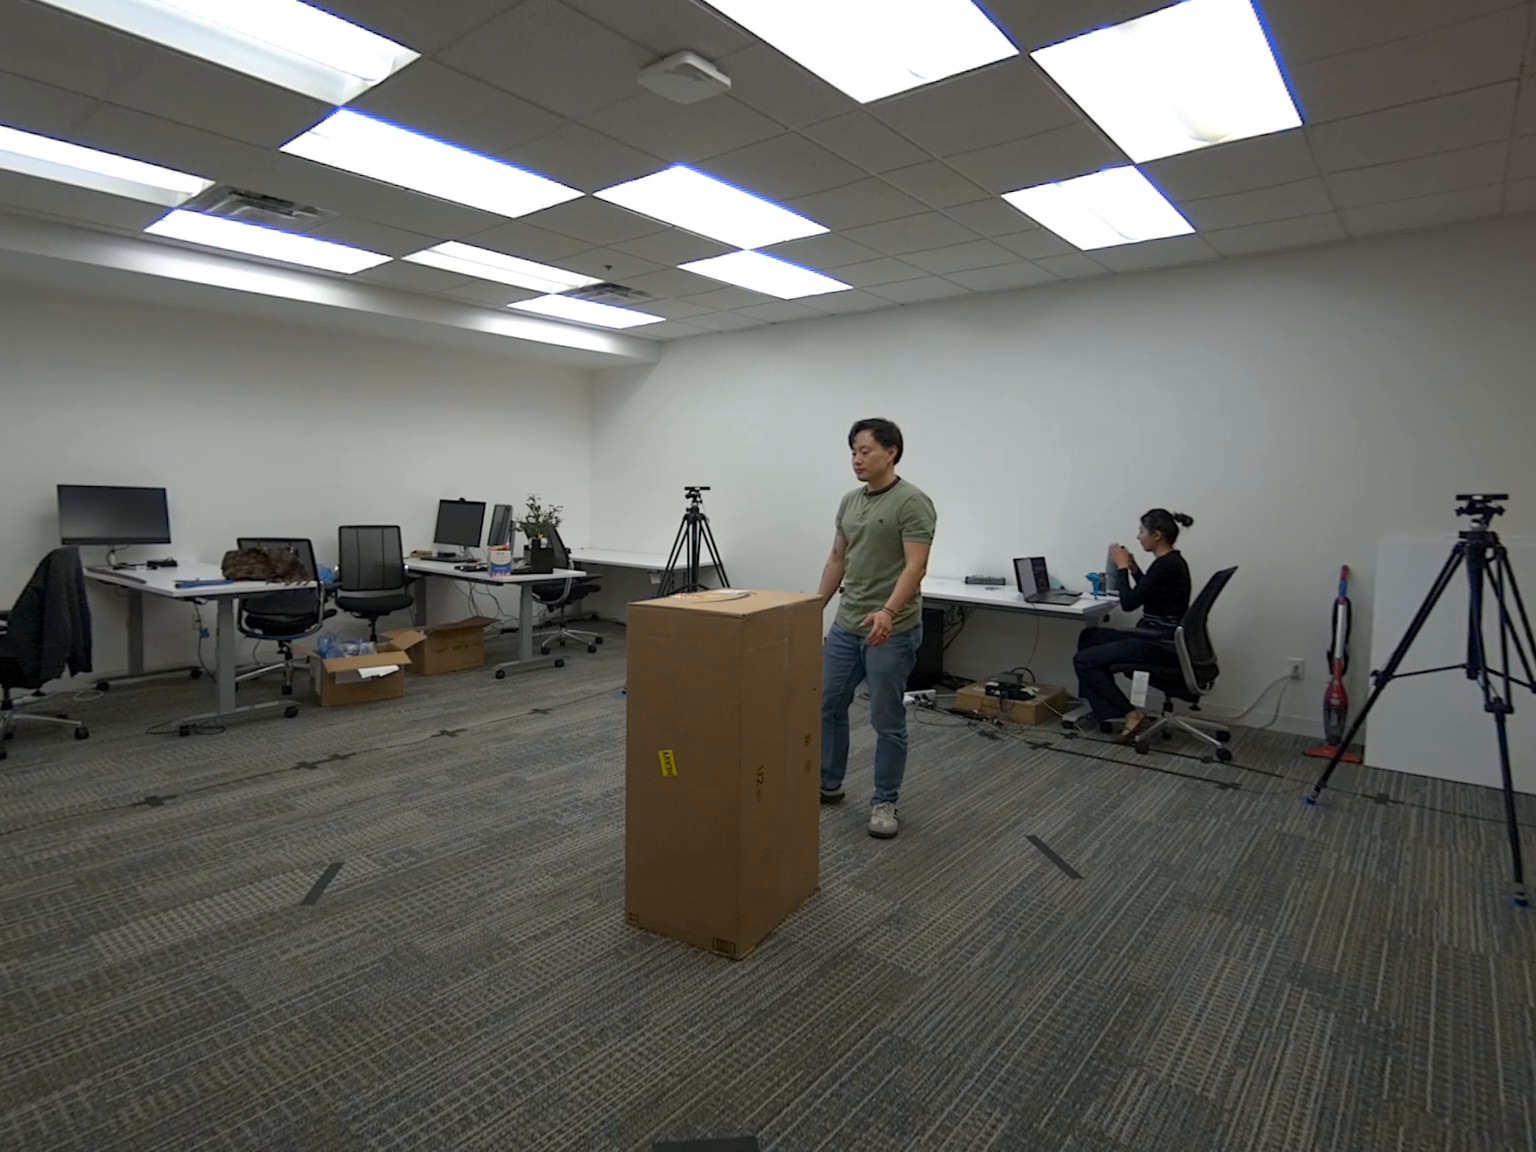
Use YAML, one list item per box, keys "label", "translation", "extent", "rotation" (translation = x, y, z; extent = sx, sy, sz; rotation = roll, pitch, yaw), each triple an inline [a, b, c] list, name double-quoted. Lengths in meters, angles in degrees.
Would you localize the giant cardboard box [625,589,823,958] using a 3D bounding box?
- label: "giant cardboard box"
  translation: [-0.142, 0.584, 2.816]
  extent: [0.438, 1.023, 0.563]
  rotation: [2, 3, 29]
